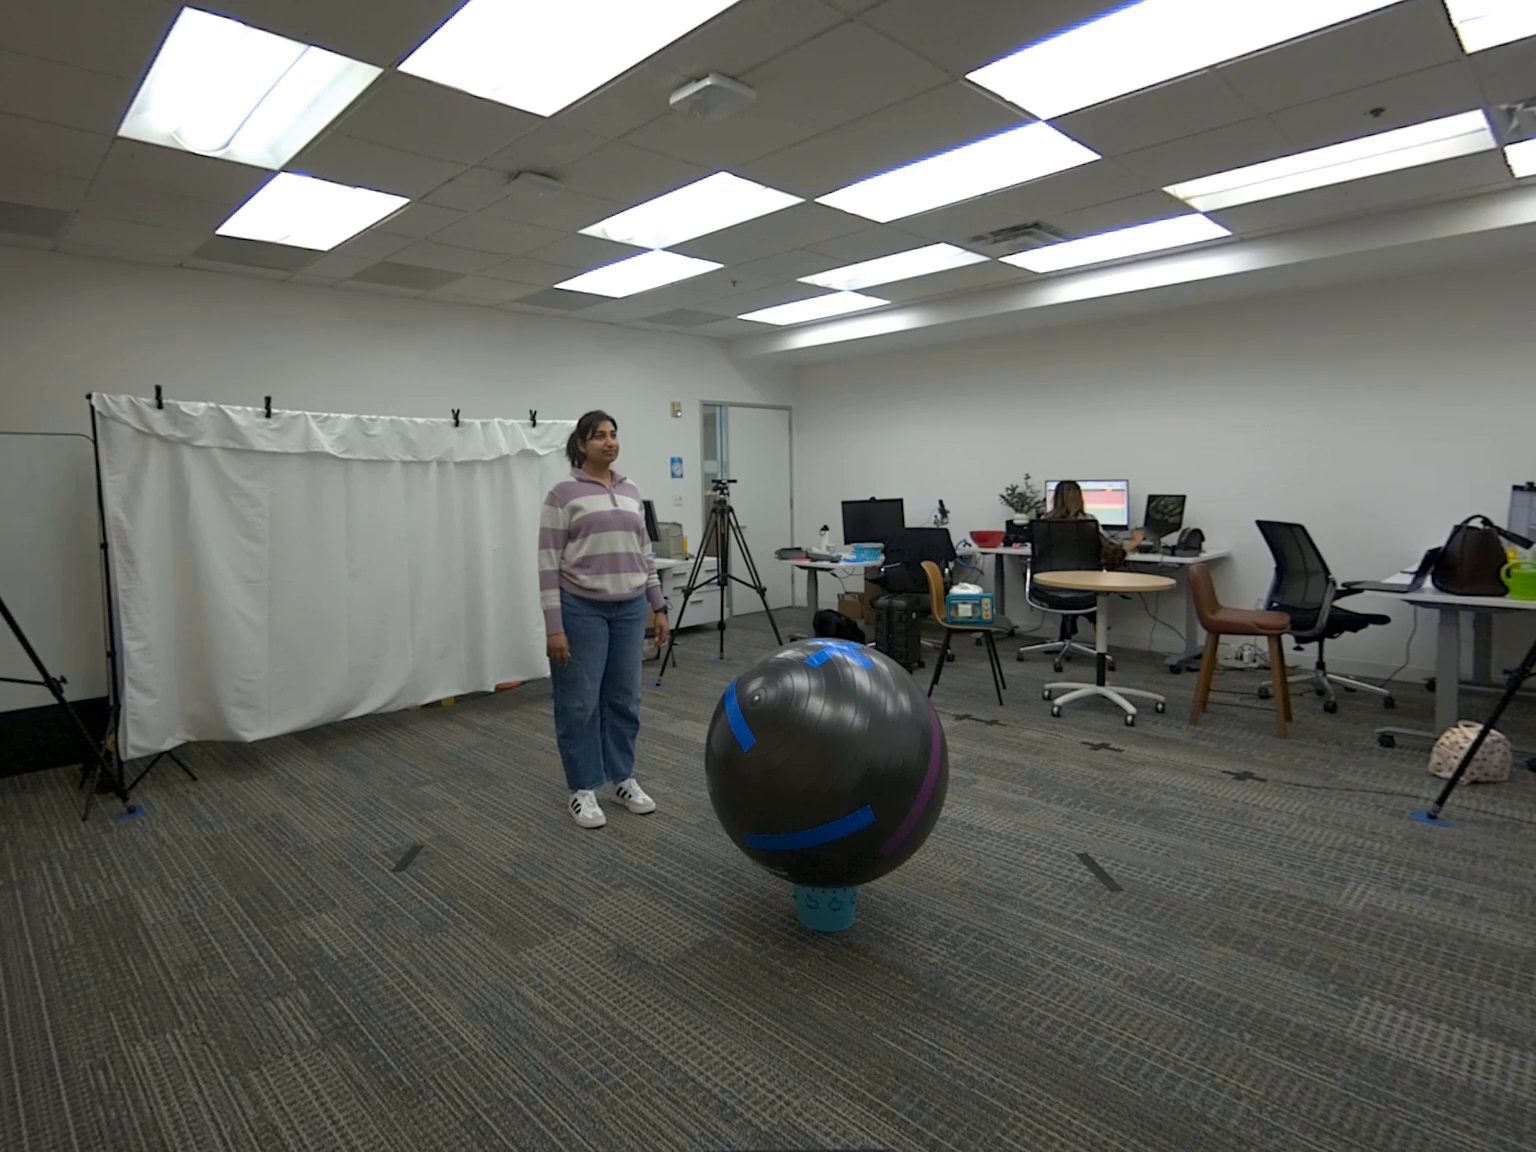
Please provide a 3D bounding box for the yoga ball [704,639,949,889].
[{"bbox_3d":[0.180,0.583,2.683,0.757,0.755,0.762,-1,5,-2],"label":"yoga ball"}]
